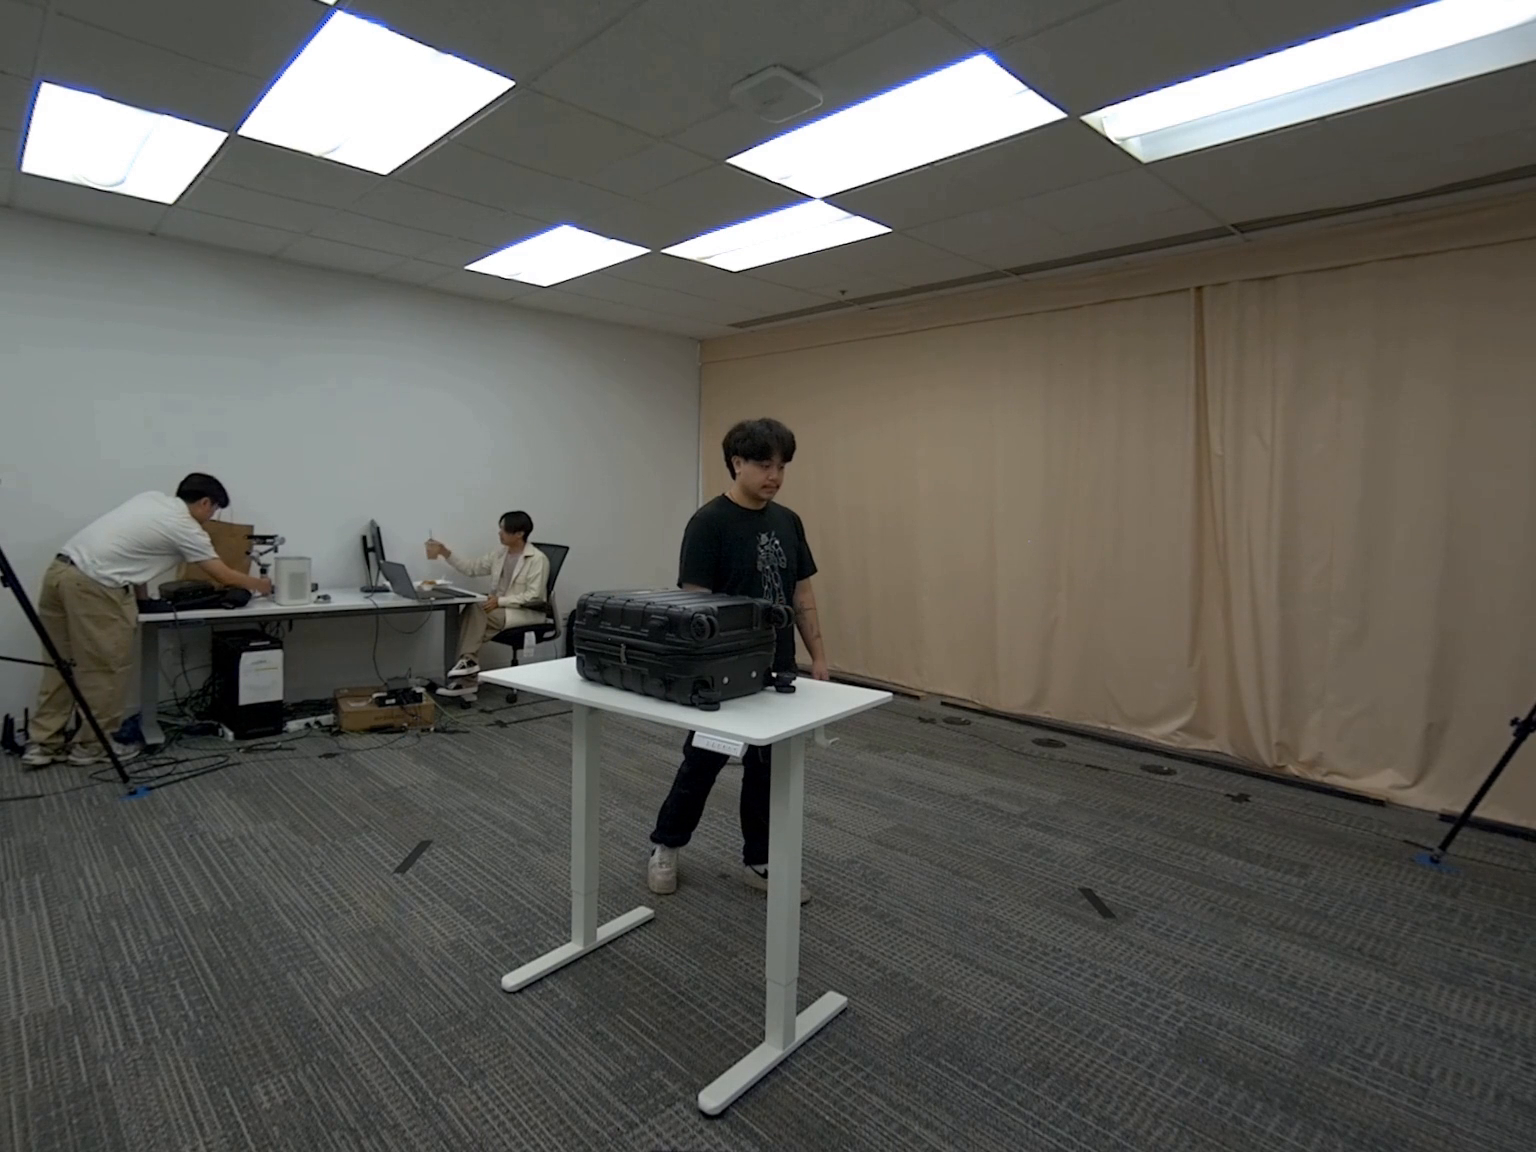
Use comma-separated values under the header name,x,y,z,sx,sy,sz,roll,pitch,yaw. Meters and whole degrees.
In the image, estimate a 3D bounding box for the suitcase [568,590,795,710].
name,x,y,z,sx,sy,sz,roll,pitch,yaw
suitcase,-0.258,0.185,2.270,0.563,0.247,0.367,6,6,43
